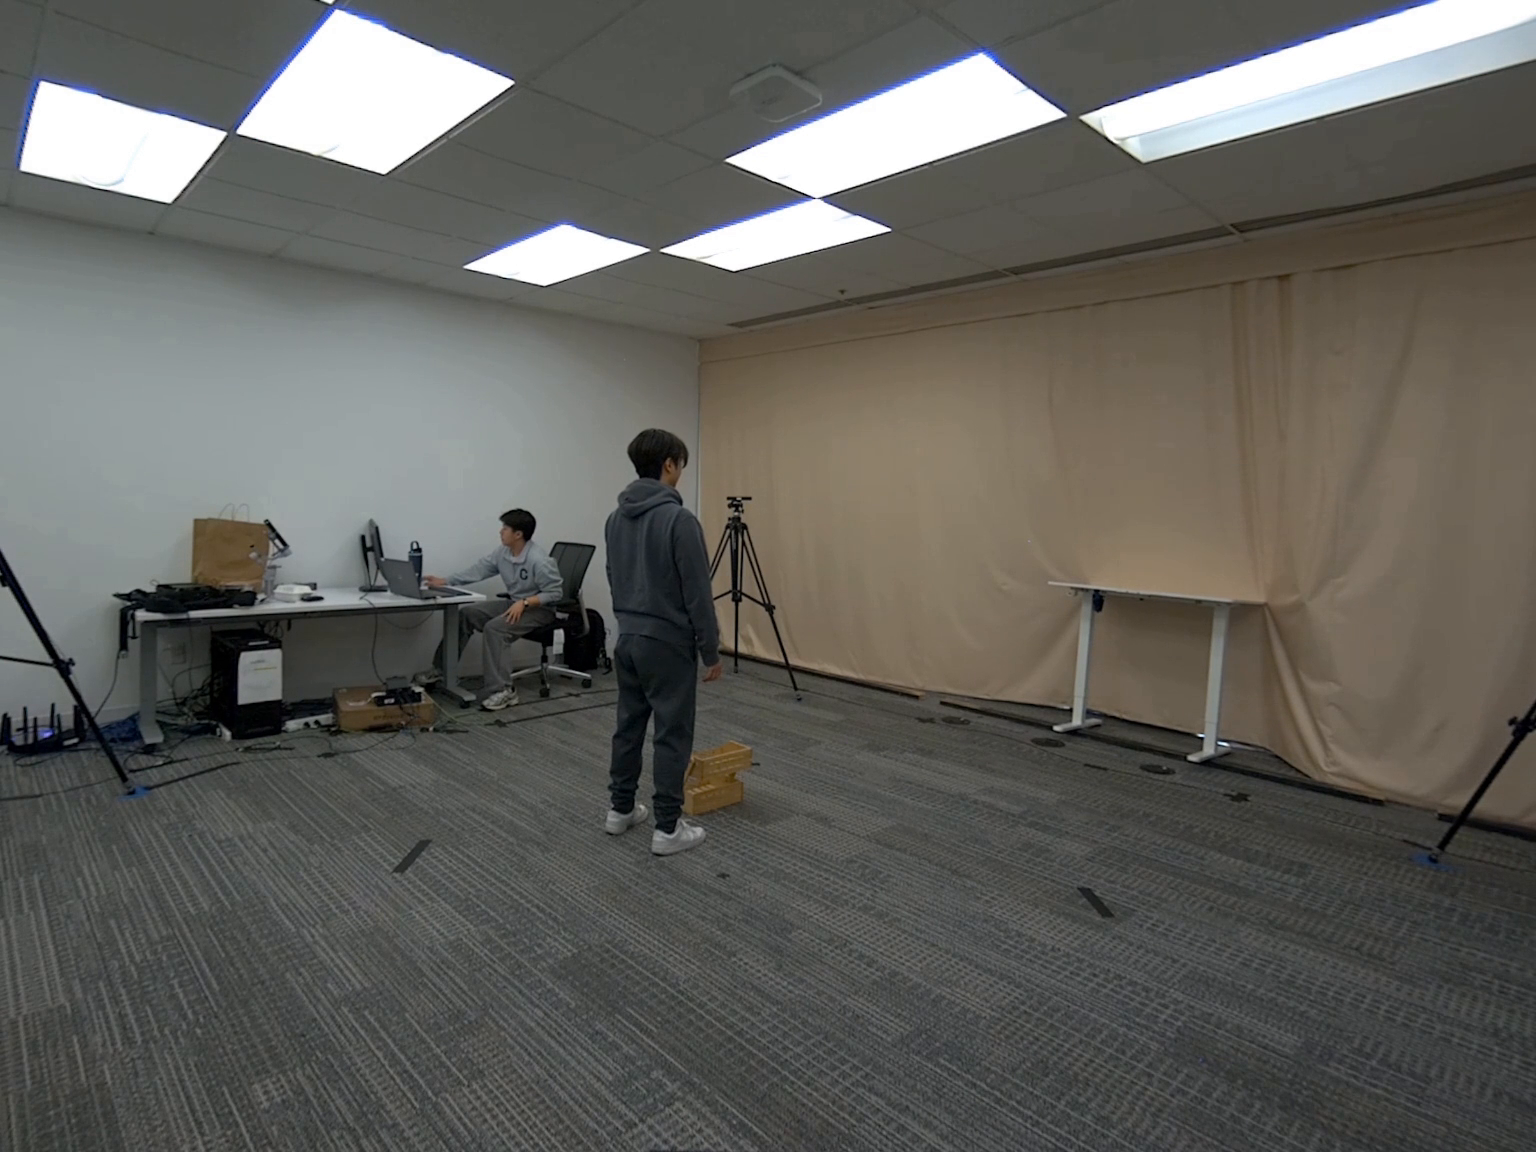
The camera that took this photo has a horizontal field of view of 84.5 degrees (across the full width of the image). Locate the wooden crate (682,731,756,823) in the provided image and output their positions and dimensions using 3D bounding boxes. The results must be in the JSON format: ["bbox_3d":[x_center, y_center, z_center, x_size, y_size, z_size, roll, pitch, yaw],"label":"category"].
[{"bbox_3d":[-0.284,0.904,3.855,0.317,0.272,0.310,-2,6,-44],"label":"wooden crate"}]
